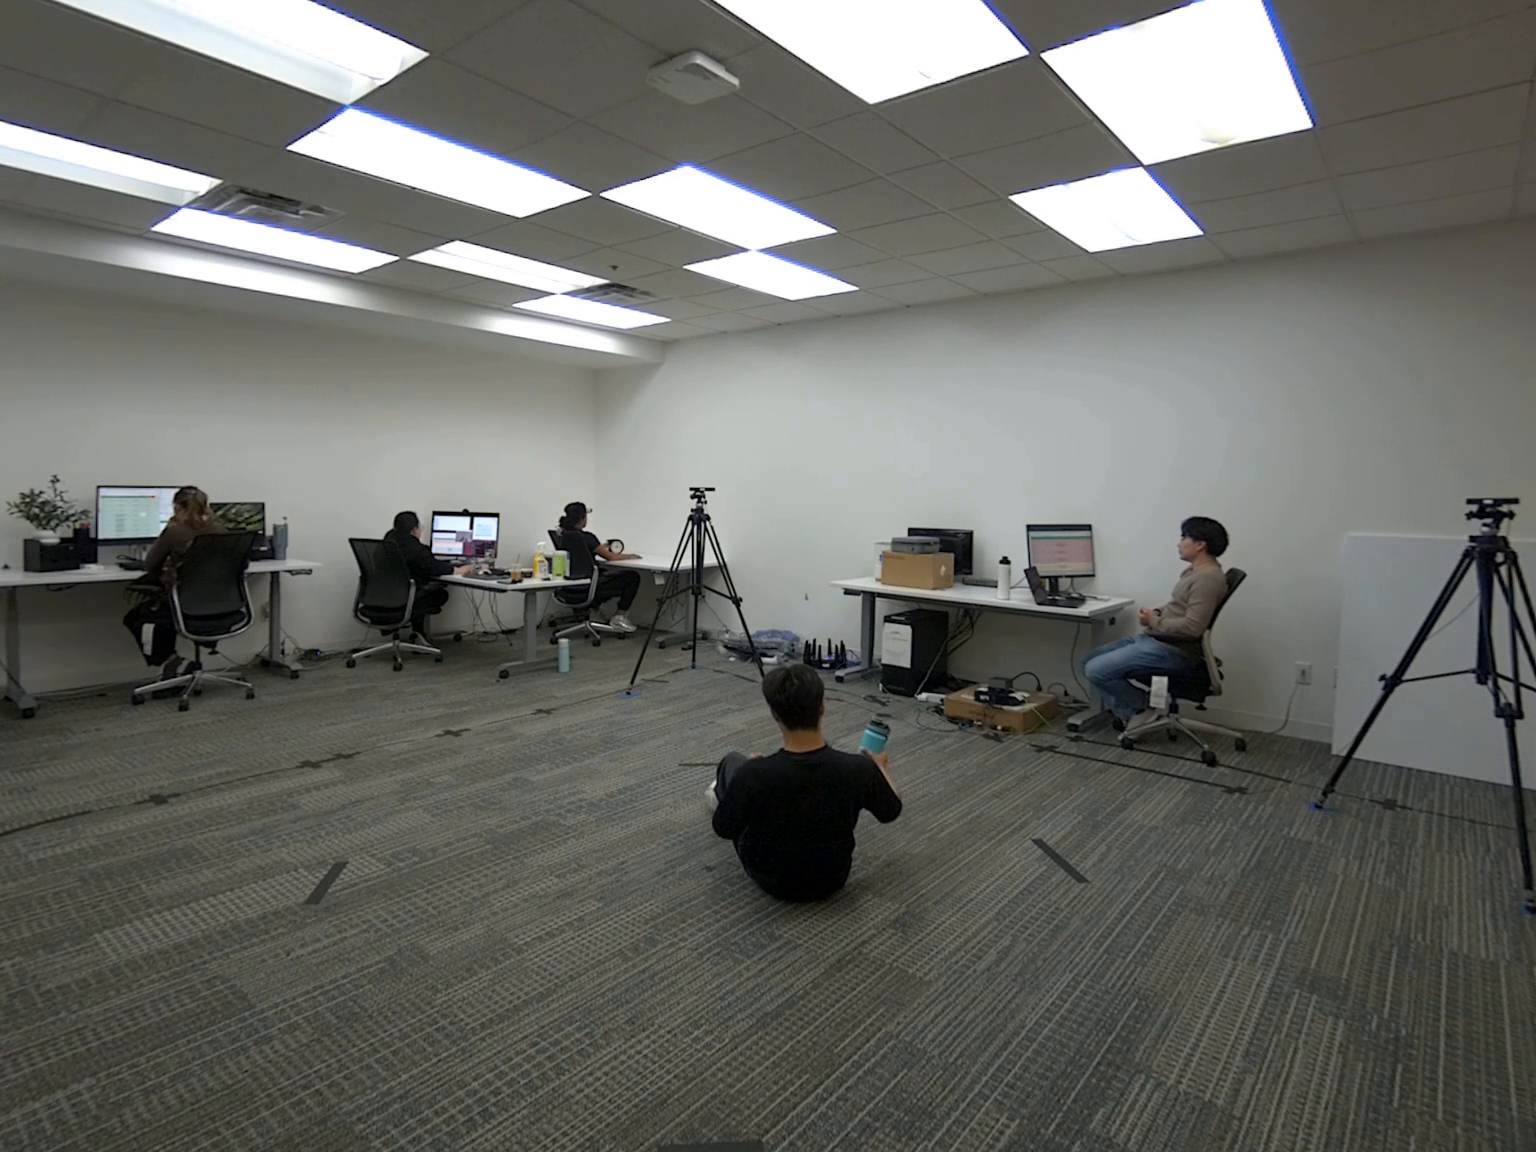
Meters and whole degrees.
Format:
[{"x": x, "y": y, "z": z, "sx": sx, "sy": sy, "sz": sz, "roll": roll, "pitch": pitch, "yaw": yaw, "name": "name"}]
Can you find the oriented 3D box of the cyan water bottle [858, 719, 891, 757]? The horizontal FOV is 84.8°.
[{"x": 0.385, "y": 0.687, "z": 3.322, "sx": 0.092, "sy": 0.284, "sz": 0.092, "roll": 21, "pitch": -5, "yaw": 0, "name": "cyan water bottle"}]
